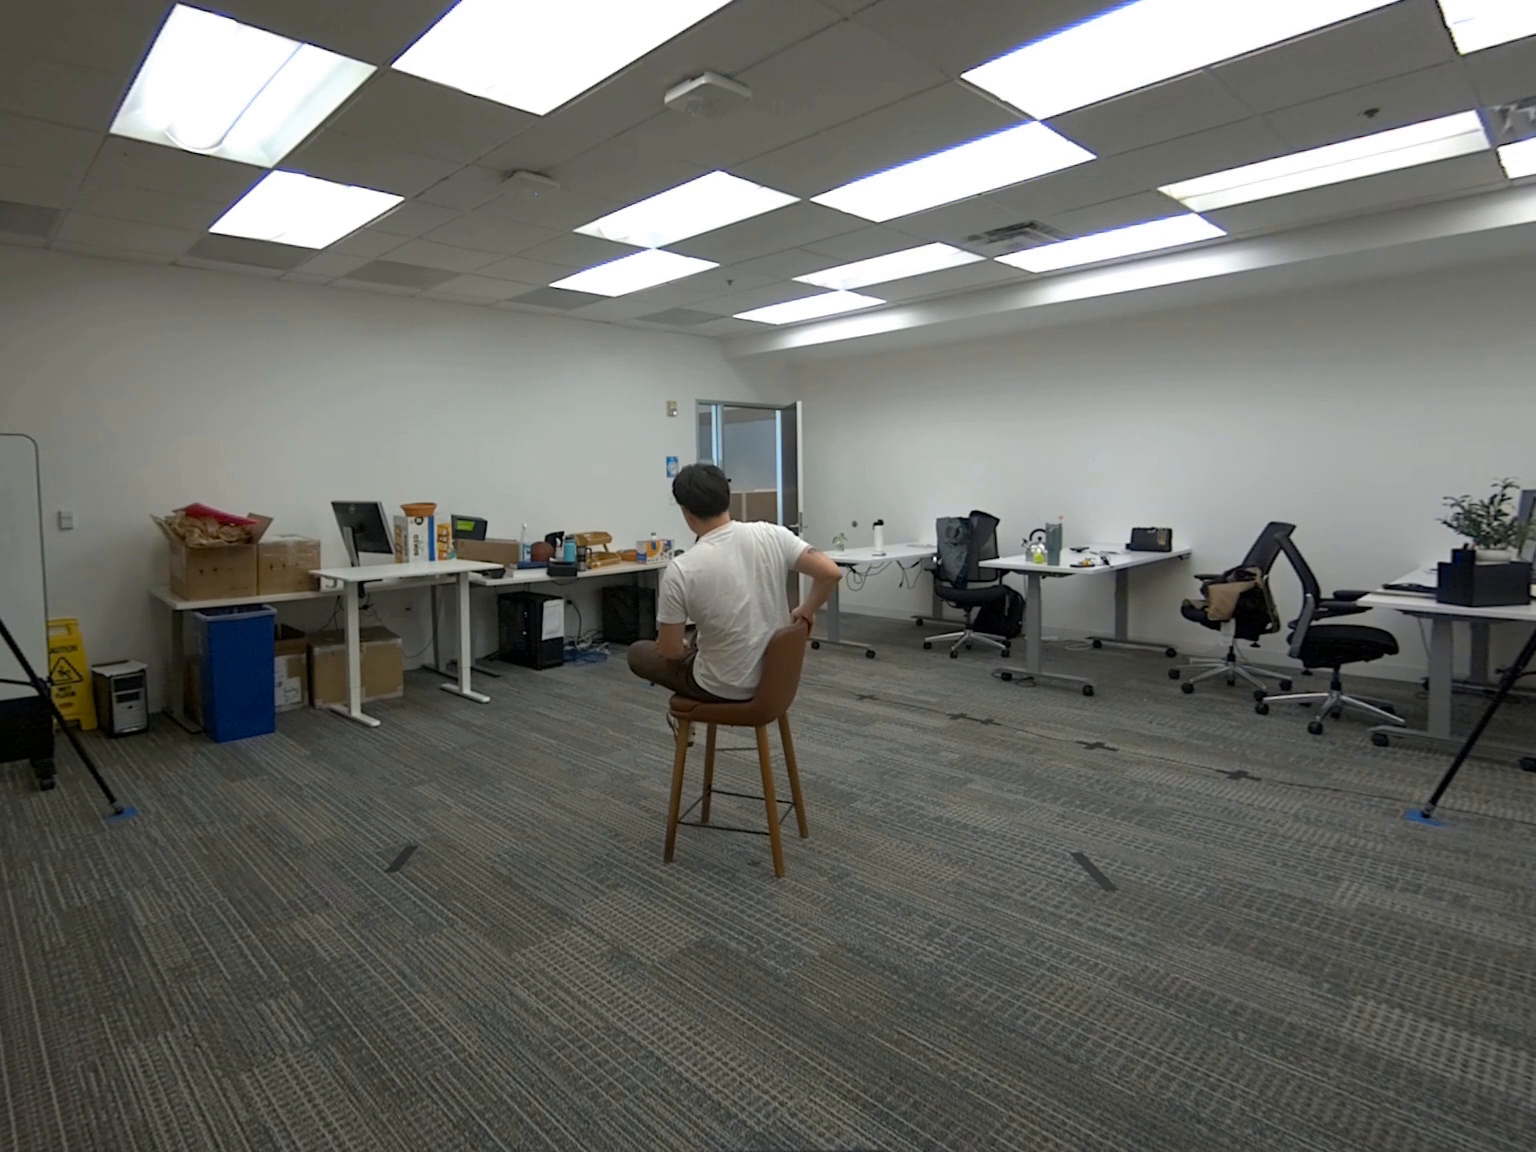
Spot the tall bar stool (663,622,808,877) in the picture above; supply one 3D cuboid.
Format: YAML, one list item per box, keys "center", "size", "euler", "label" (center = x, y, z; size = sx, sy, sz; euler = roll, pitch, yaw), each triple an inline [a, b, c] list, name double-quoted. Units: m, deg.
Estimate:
- center: [-0.104, 0.602, 3.211]
  size: [0.477, 0.886, 0.449]
  euler: [3, 5, 20]
  label: "tall bar stool"
